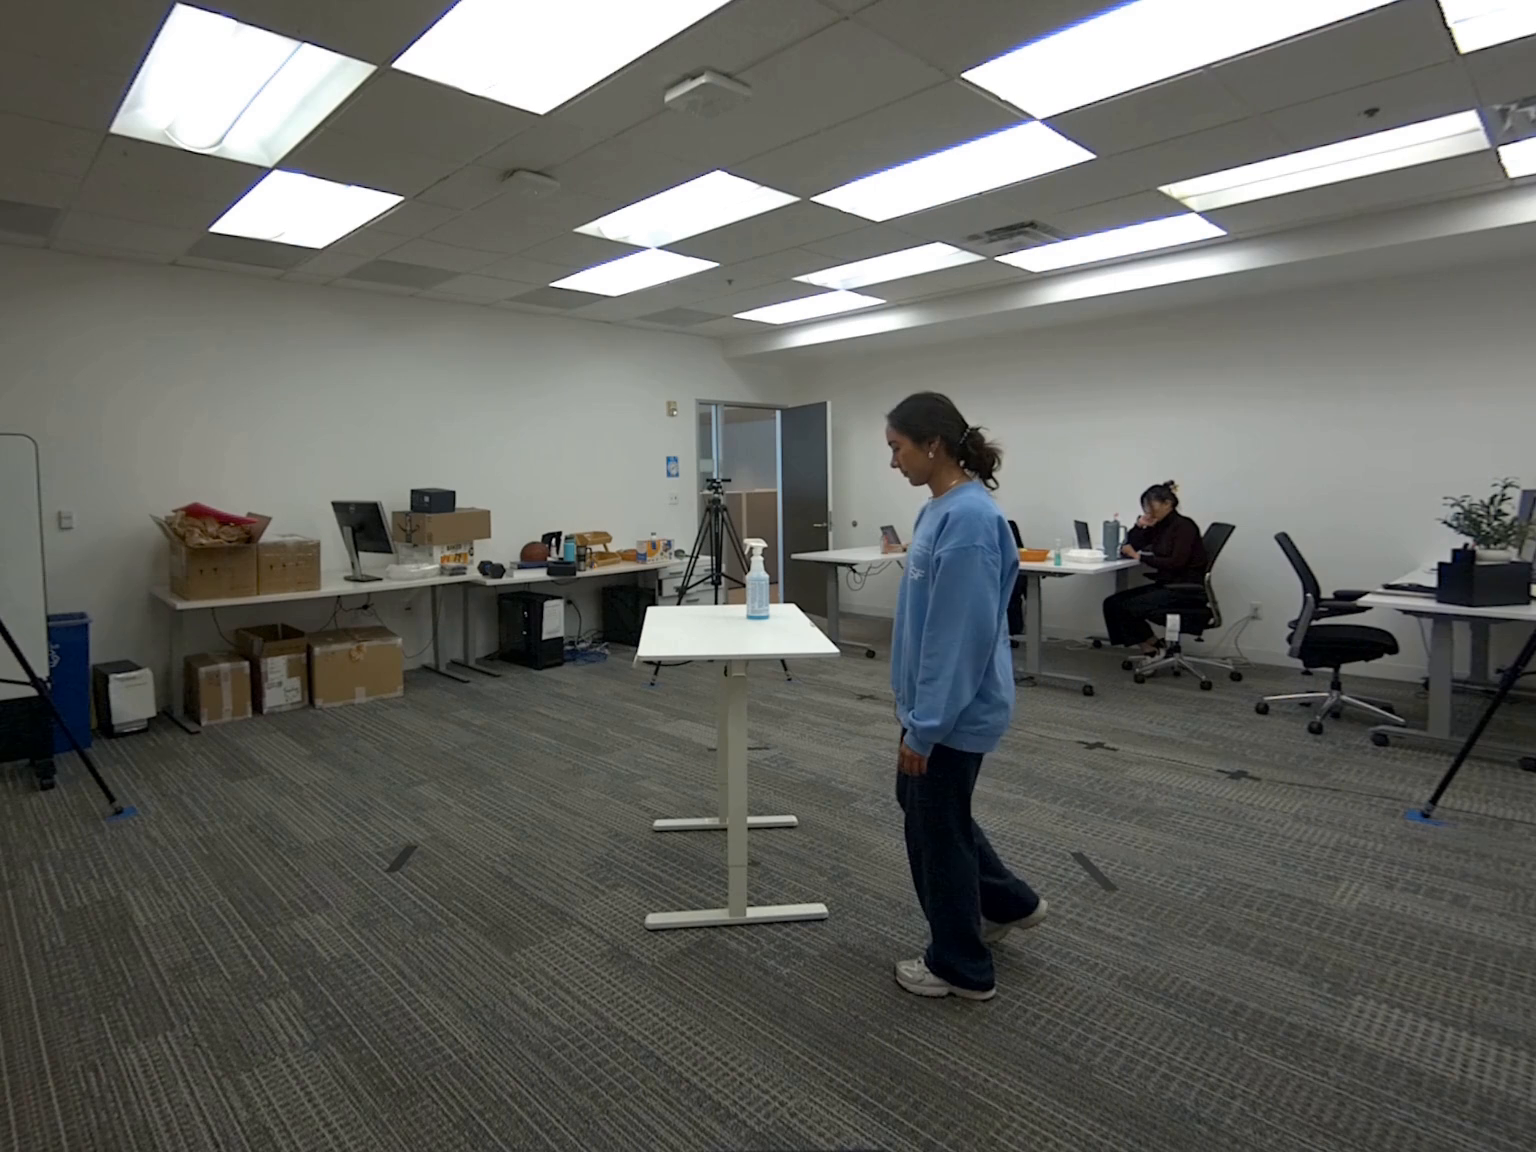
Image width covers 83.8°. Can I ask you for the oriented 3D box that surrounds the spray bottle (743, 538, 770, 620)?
[{"bbox_3d":[-0.039,0.012,3.164,0.090,0.296,0.087,-1,4,3],"label":"spray bottle"}]
